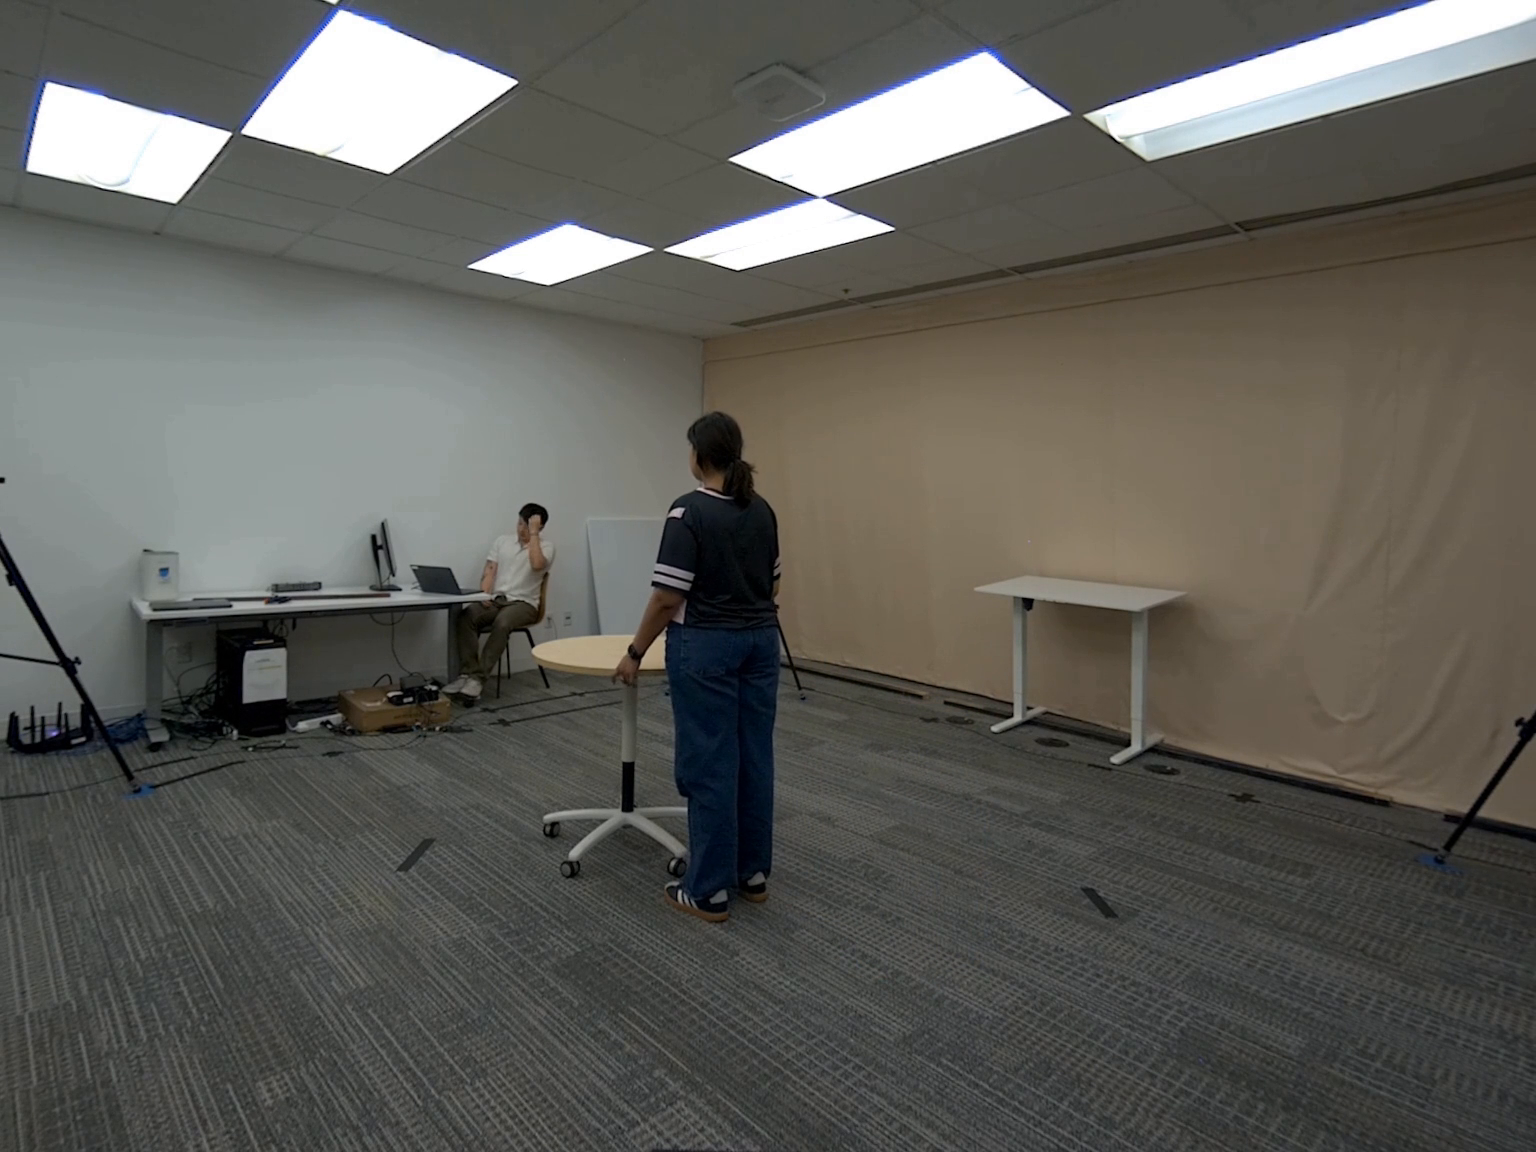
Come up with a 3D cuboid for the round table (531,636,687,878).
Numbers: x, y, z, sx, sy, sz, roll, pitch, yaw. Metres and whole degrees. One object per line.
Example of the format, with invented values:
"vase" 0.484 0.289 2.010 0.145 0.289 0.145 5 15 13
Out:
"round table" -0.551 0.681 3.319 0.784 0.785 0.787 1 3 -1
